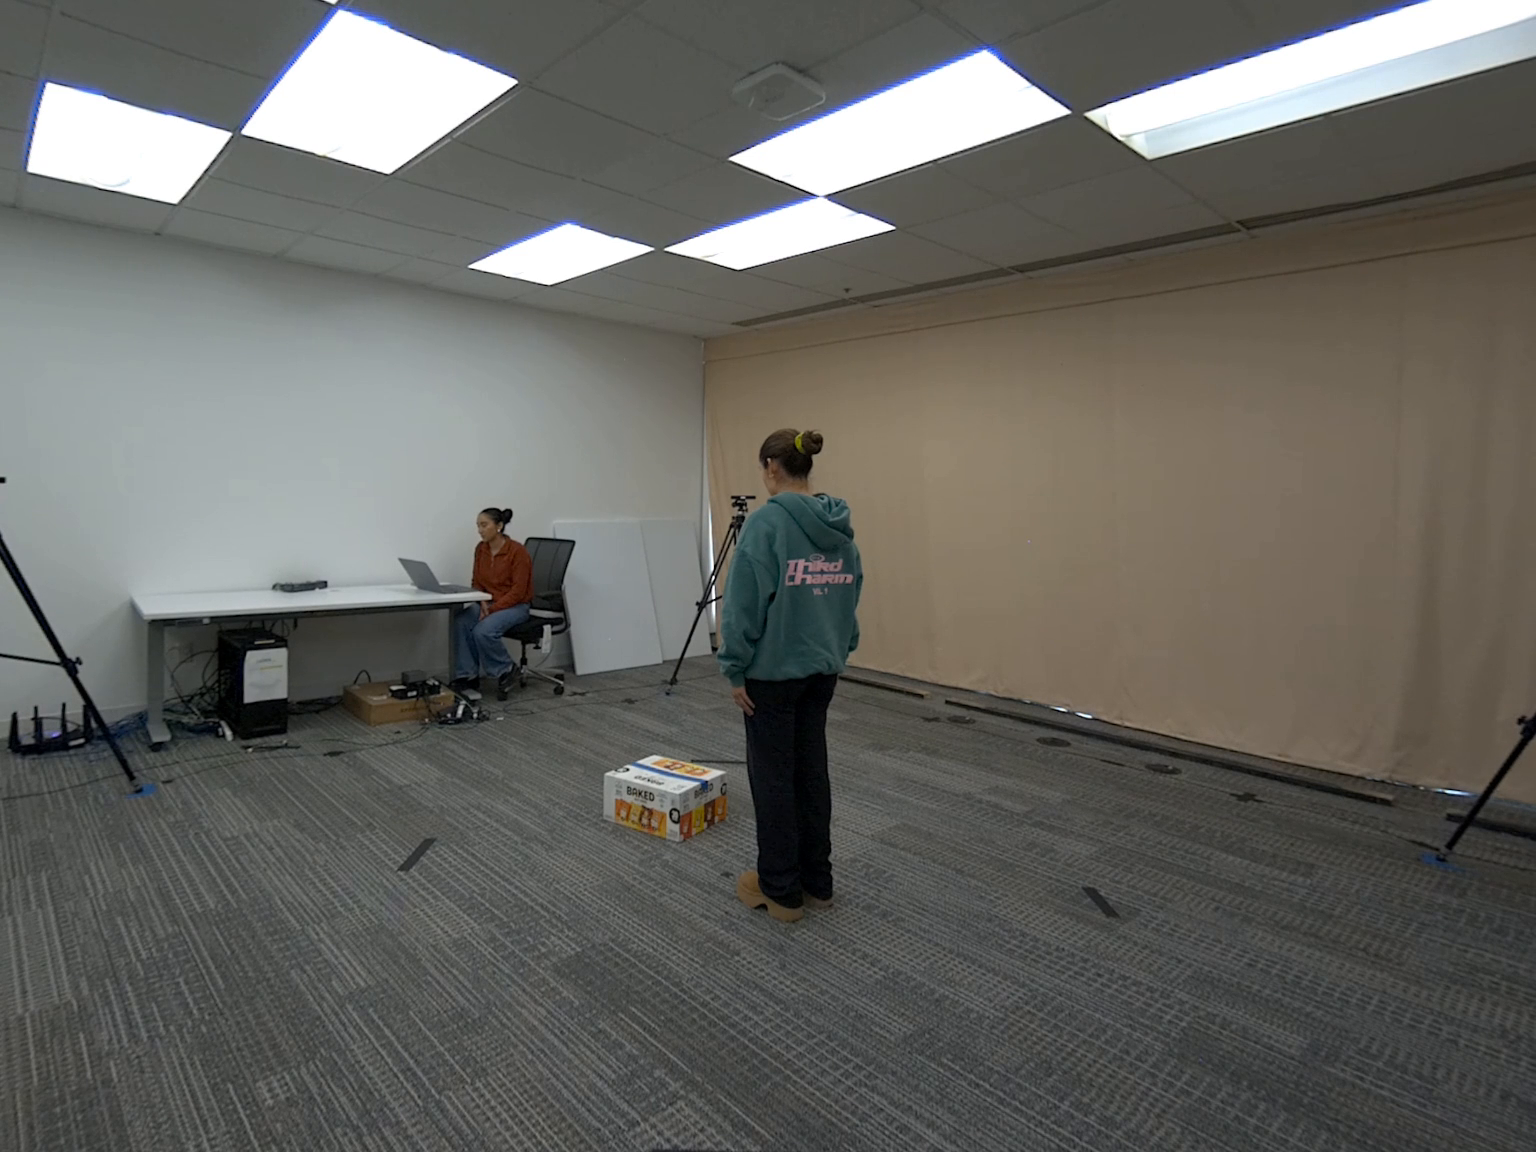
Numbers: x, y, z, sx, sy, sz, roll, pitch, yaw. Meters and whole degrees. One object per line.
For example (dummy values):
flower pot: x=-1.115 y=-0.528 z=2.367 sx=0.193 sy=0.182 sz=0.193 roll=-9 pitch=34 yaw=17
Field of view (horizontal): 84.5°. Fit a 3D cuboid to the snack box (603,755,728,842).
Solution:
snack box: x=-0.449 y=0.949 z=3.623 sx=0.414 sy=0.205 sz=0.333 roll=5 pitch=5 yaw=32
